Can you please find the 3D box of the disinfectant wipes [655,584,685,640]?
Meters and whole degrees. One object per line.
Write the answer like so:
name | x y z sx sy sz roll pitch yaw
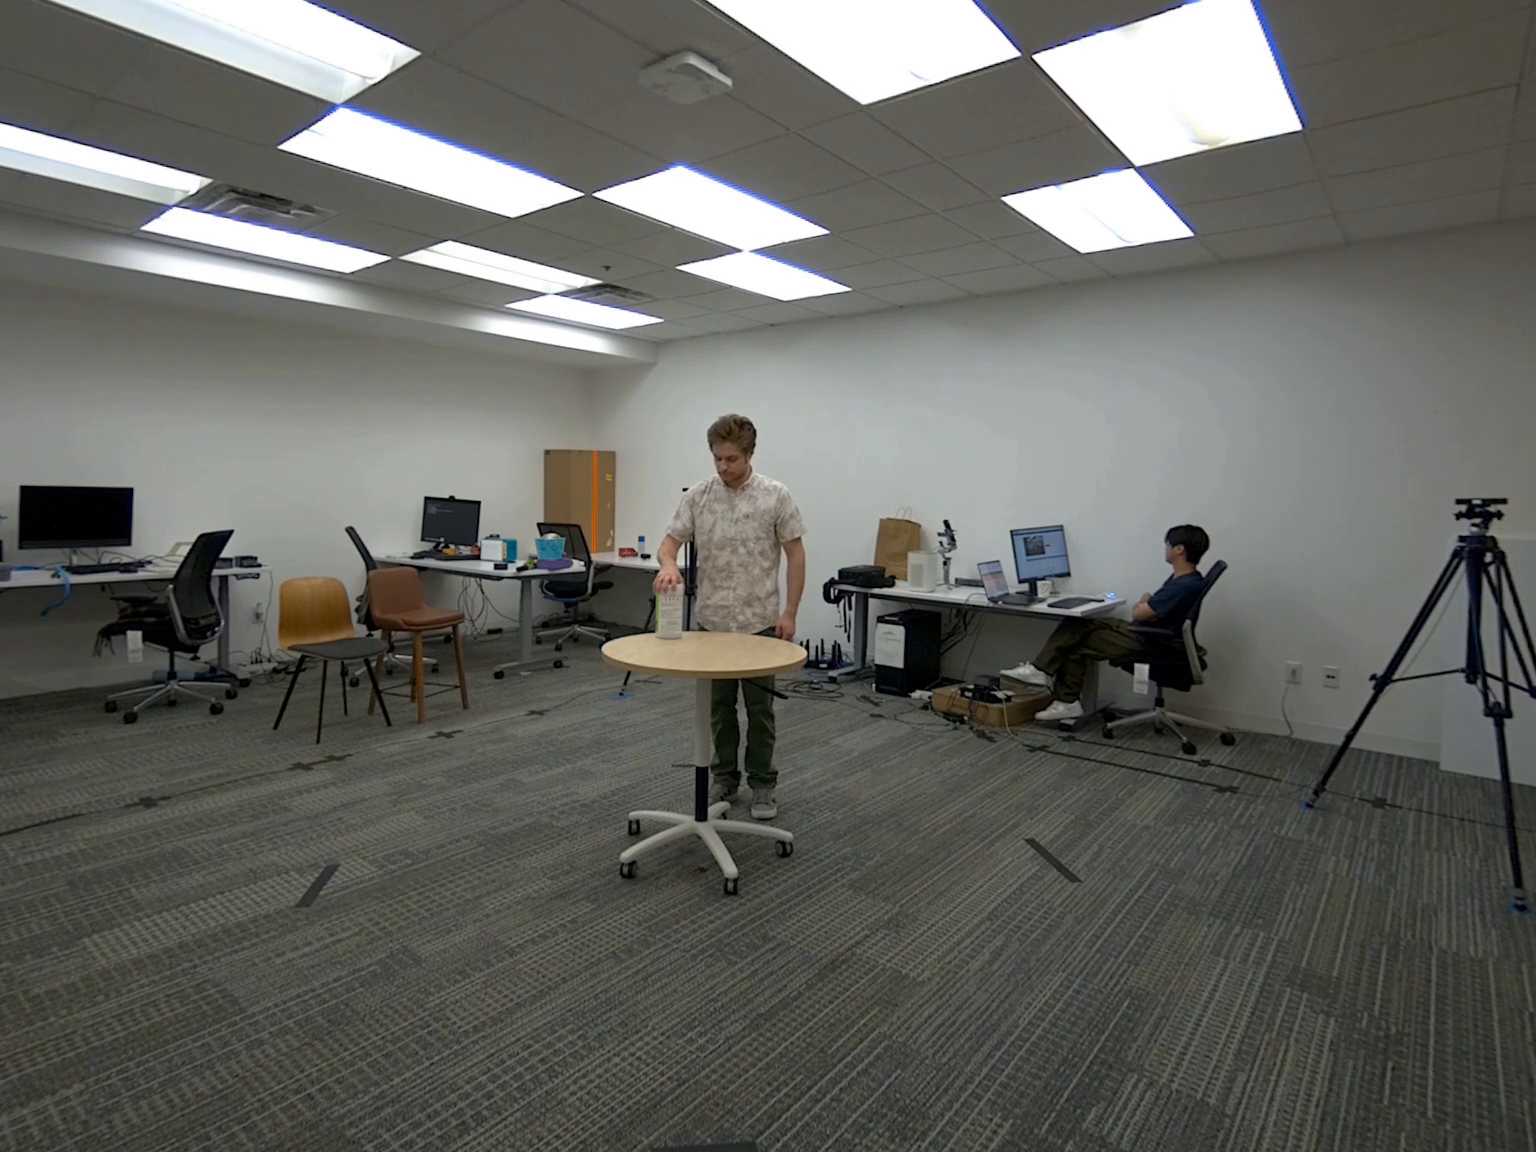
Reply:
disinfectant wipes | -0.405 0.138 3.412 0.118 0.217 0.118 1 2 -2
